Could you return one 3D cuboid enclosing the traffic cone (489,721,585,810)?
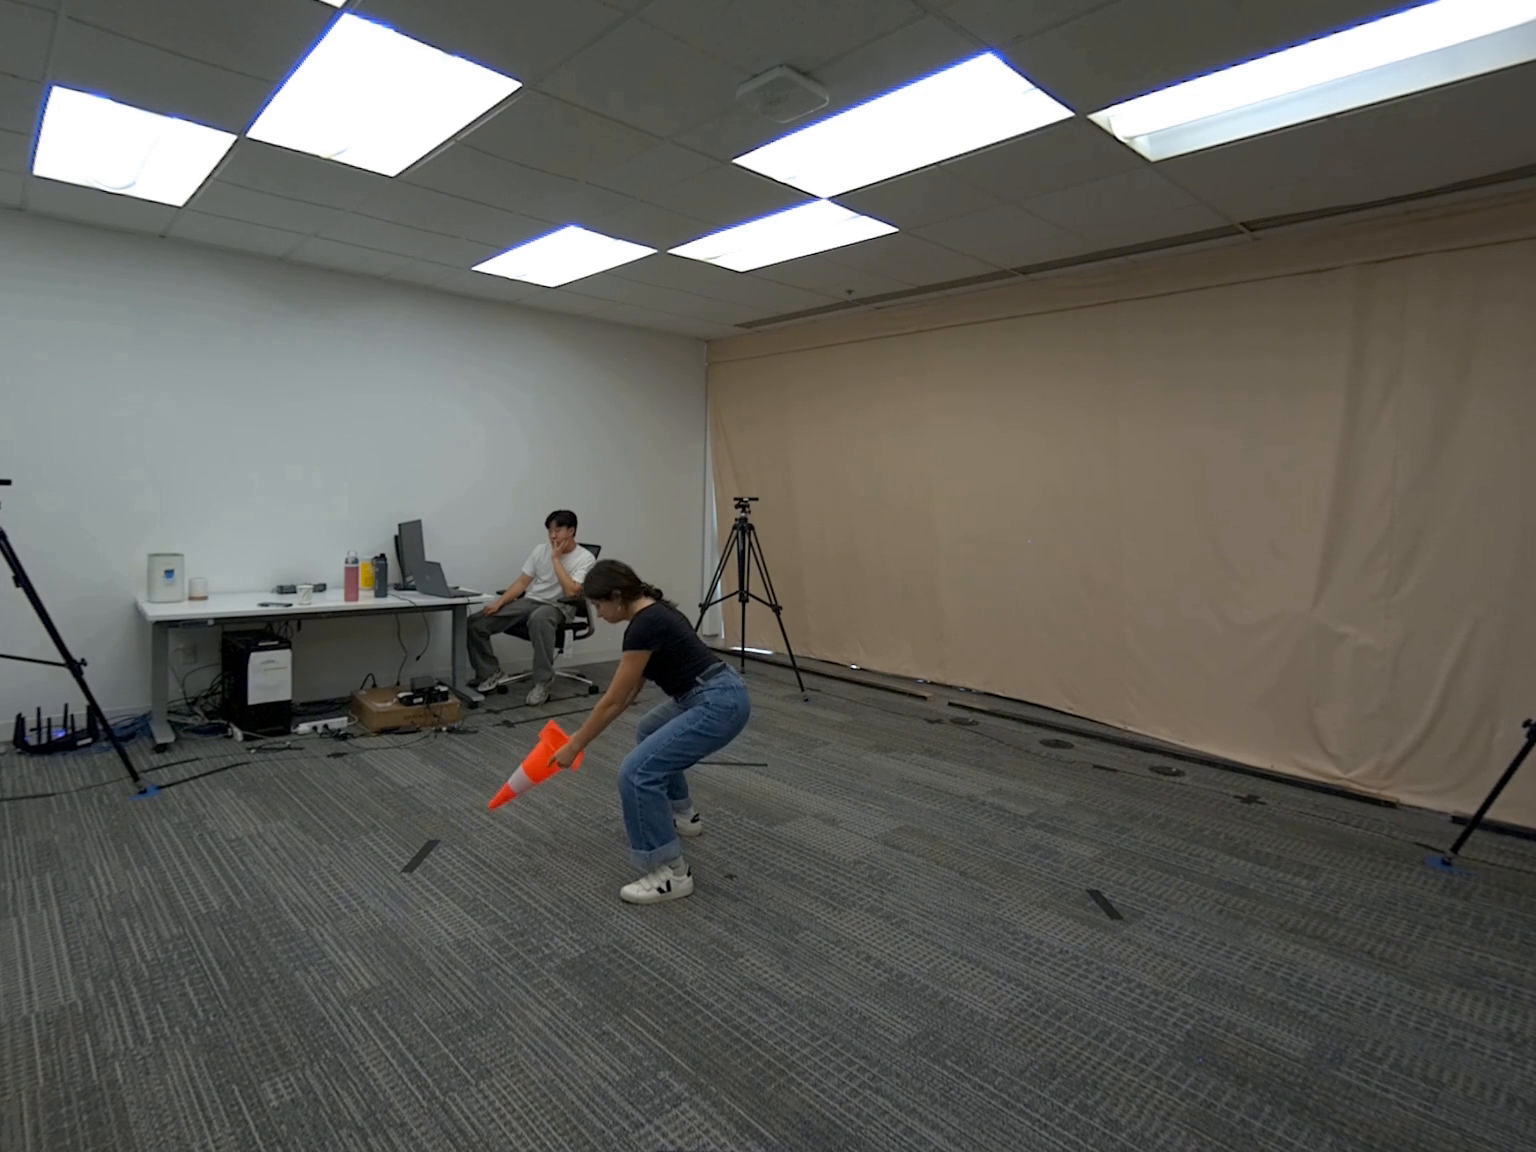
[{"bbox_3d":[-0.931,0.769,3.263,0.384,0.203,0.206,-40,11,2],"label":"traffic cone"}]
